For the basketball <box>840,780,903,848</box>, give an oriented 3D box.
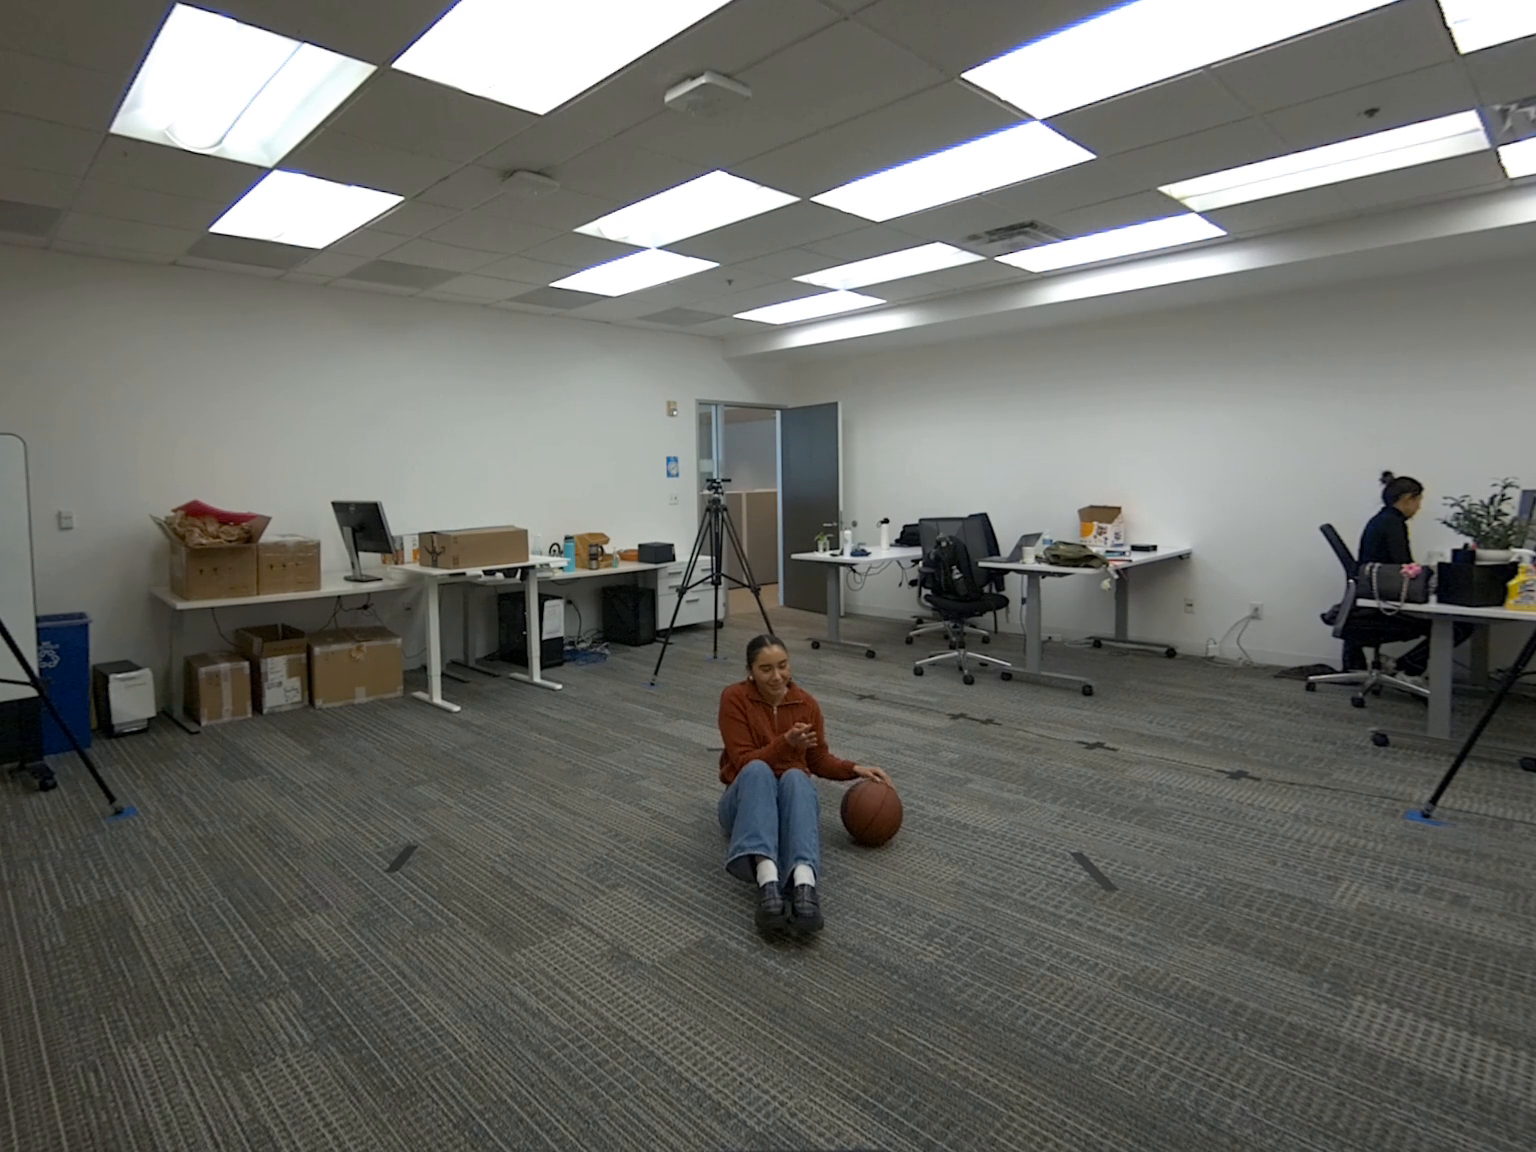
[{"bbox_3d":[0.395,0.897,3.255,0.236,0.235,0.237,-1,5,-2],"label":"basketball"}]
